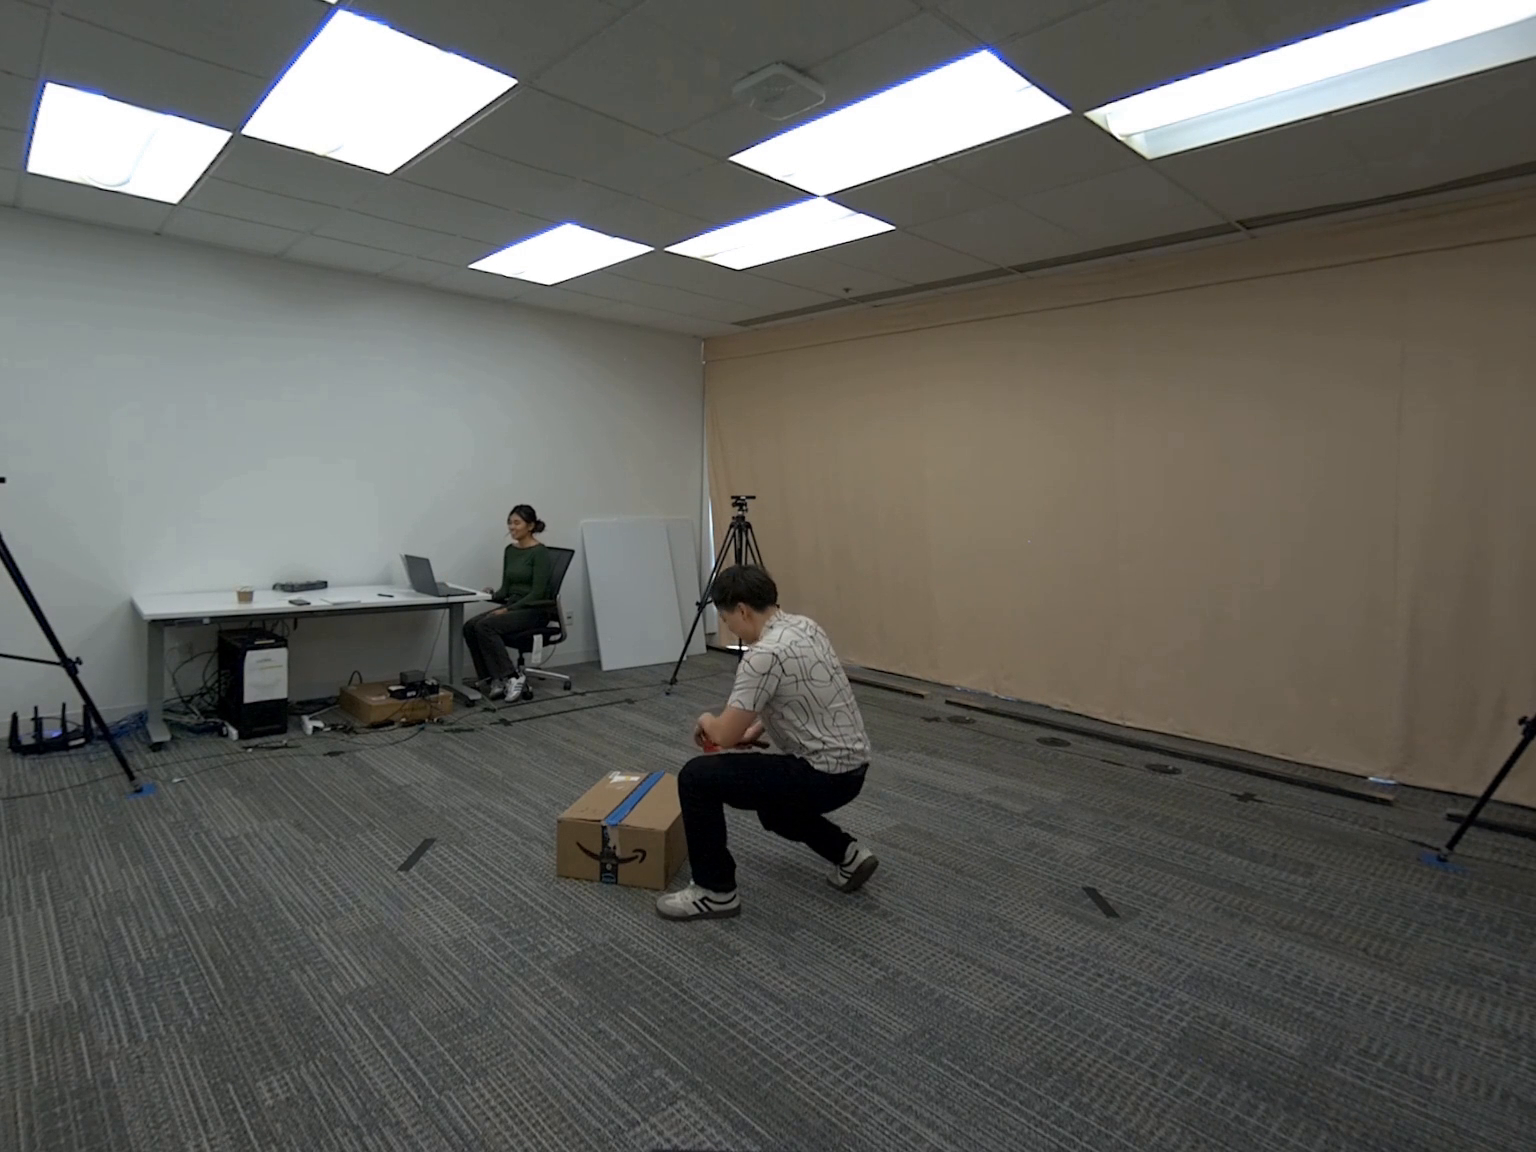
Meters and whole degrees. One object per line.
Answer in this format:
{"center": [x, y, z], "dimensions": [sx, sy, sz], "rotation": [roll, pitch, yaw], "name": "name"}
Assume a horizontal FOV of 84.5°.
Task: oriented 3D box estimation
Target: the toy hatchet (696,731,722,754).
{"center": [-0.121, 0.654, 3.231], "dimensions": [0.266, 0.030, 0.130], "rotation": [11, -43, -14], "name": "toy hatchet"}
